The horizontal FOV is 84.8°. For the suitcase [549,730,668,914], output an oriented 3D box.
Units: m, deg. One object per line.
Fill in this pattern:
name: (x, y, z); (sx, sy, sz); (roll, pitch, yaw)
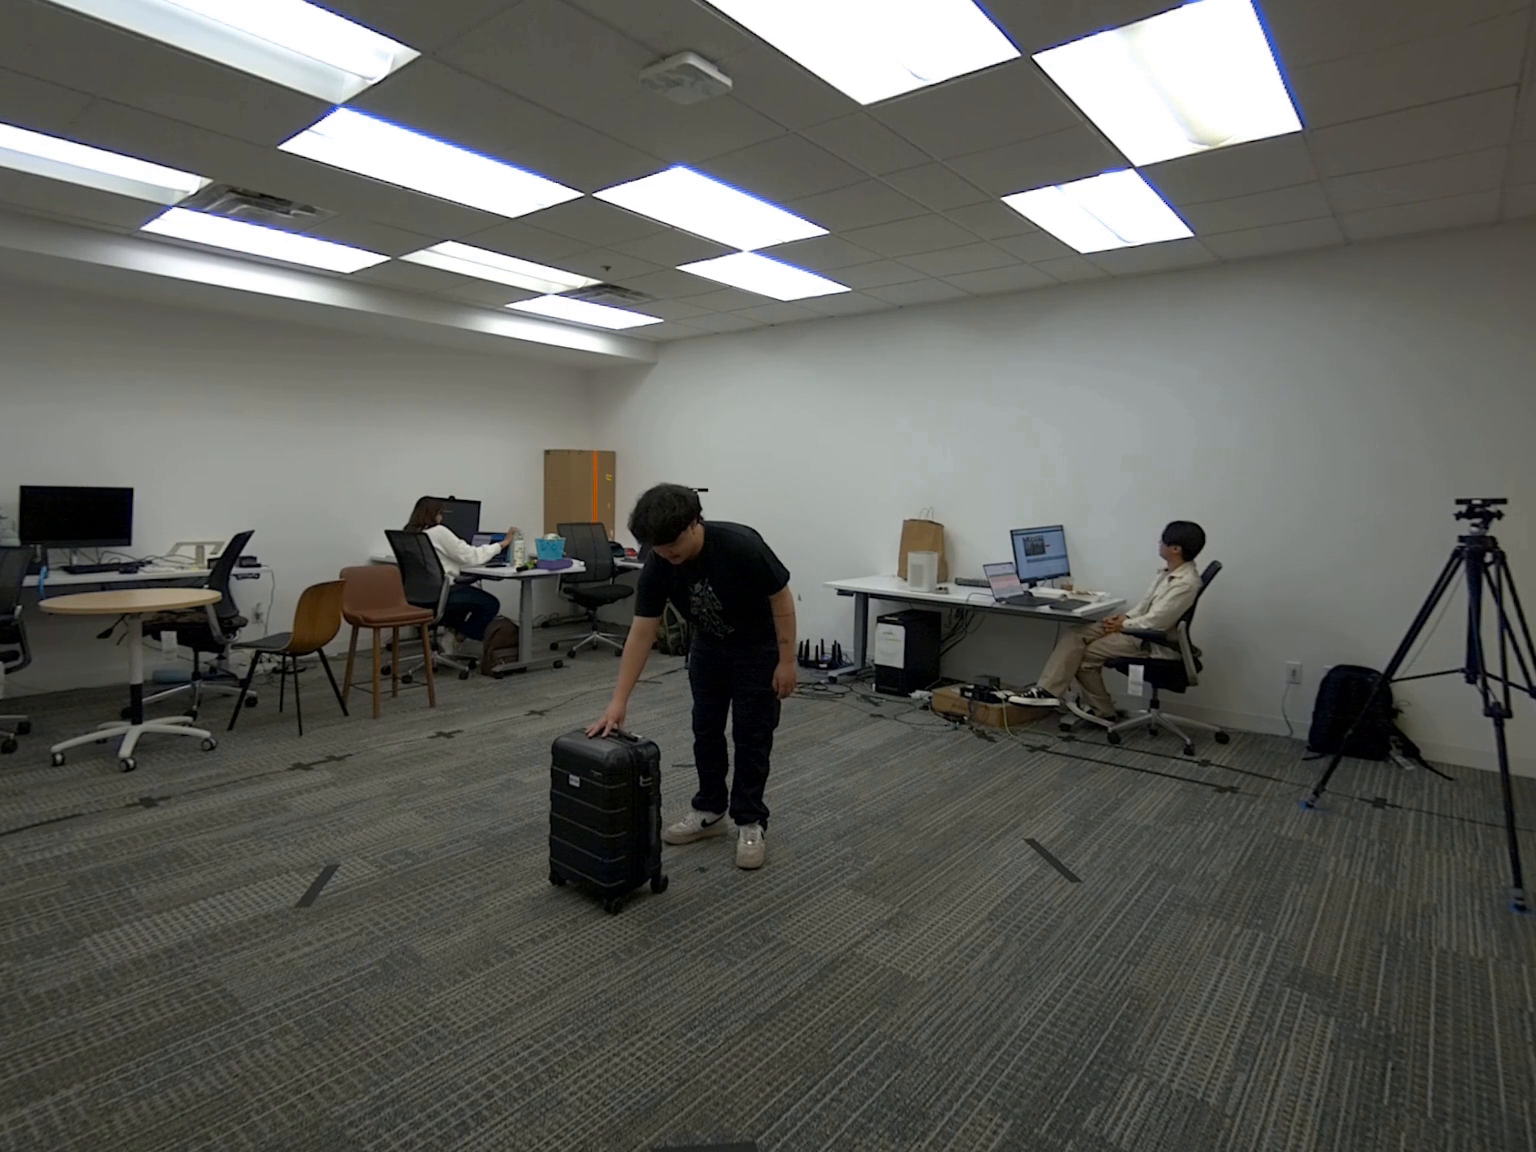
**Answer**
suitcase: (-0.567, 0.808, 2.918); (0.388, 0.547, 0.241); (5, 6, 41)
